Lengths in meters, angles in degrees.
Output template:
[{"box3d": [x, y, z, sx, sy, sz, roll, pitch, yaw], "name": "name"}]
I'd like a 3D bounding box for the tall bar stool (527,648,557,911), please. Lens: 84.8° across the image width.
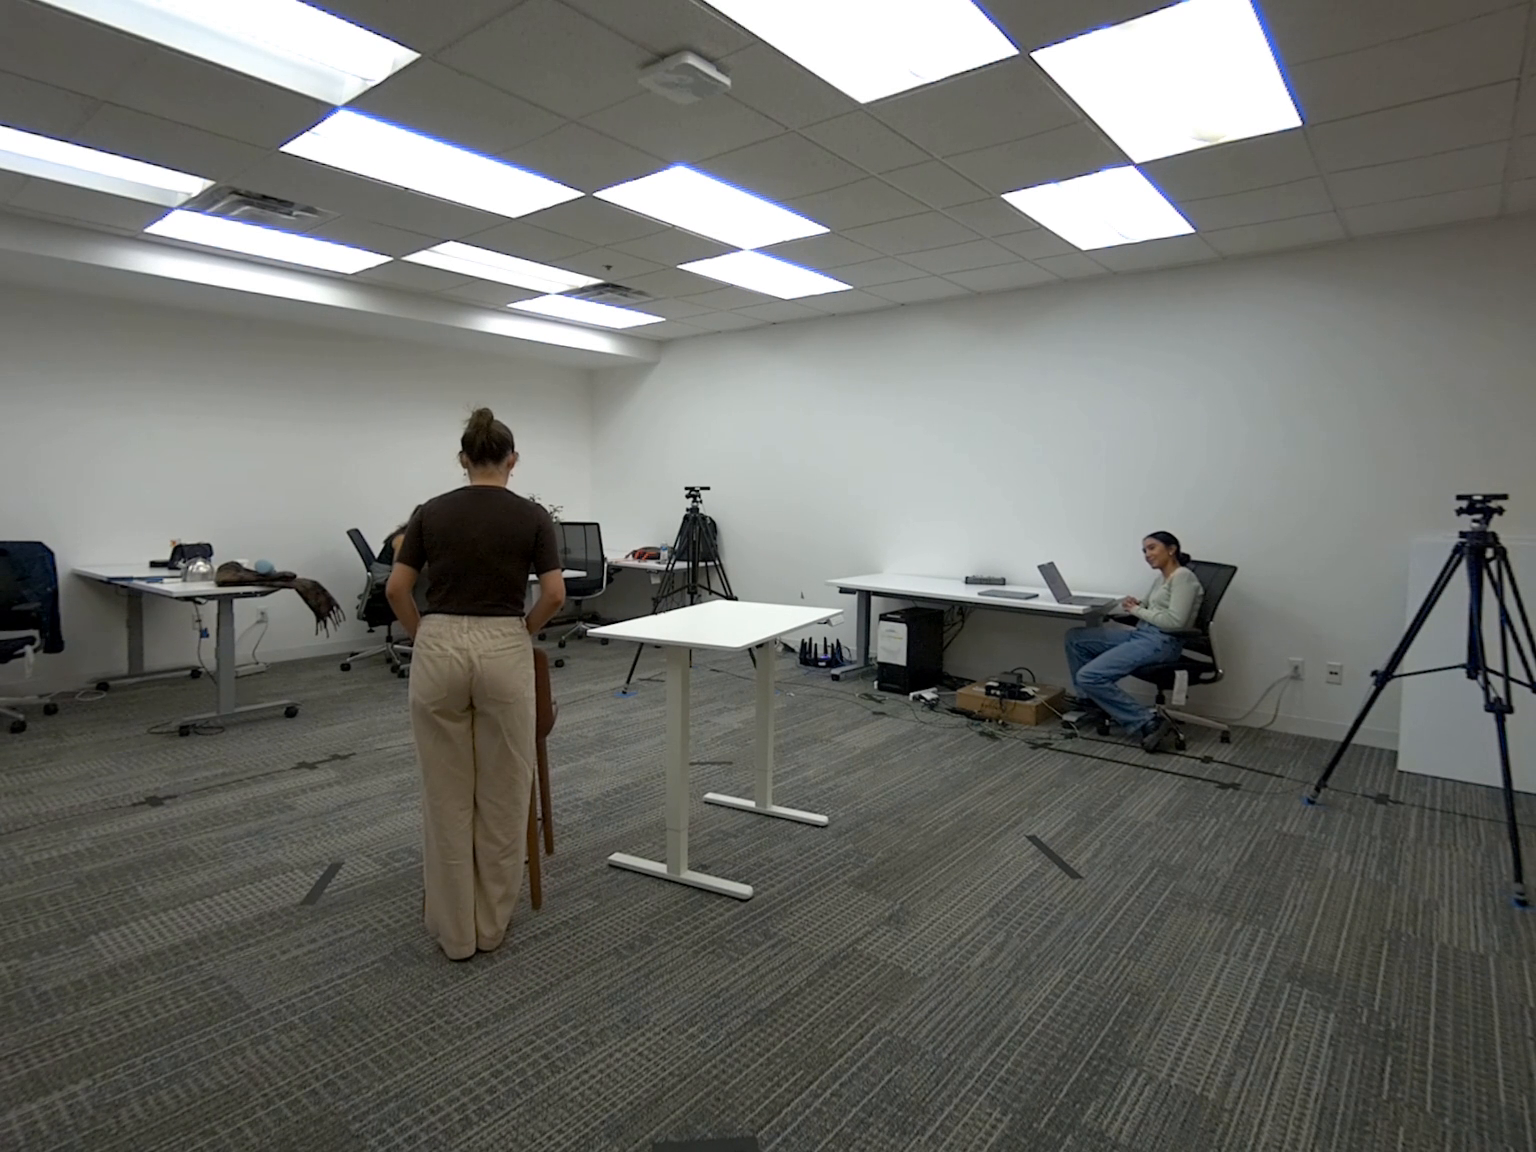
[{"box3d": [-0.981, 0.637, 2.953, 0.453, 0.886, 0.473, 0, 5, -8], "name": "tall bar stool"}]
